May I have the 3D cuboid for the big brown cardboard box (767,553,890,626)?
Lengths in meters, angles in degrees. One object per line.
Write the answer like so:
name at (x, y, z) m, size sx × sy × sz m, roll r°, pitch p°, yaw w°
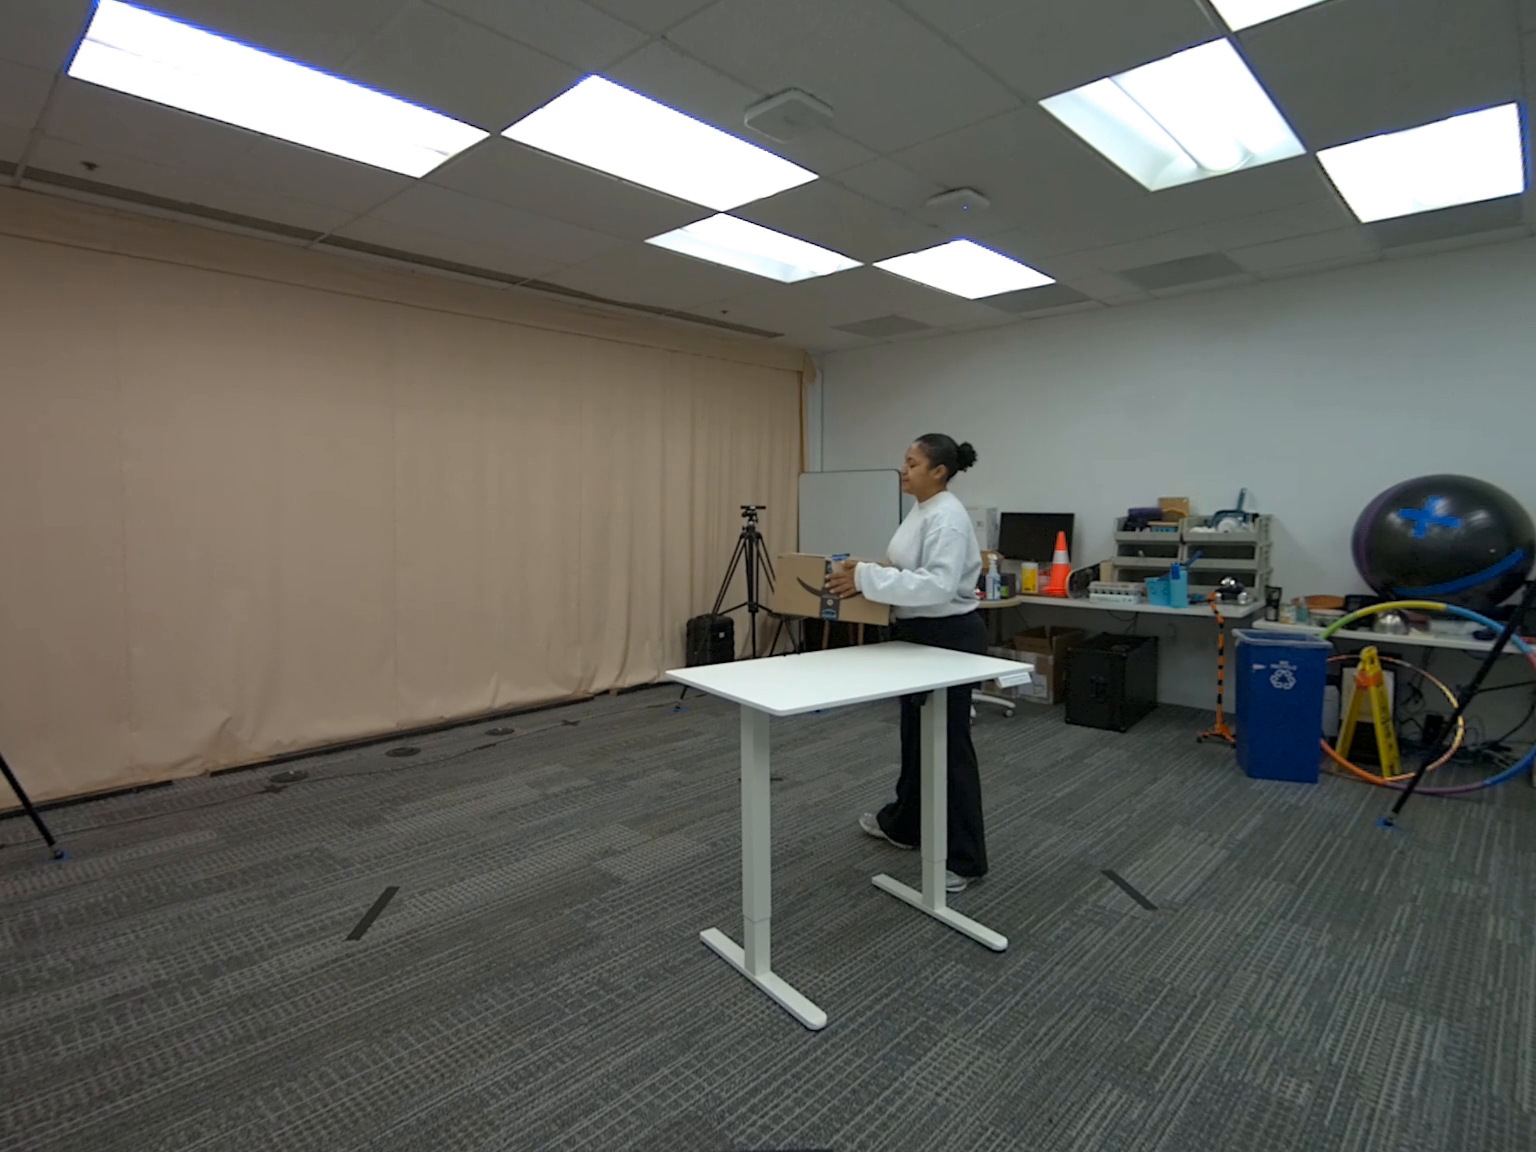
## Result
big brown cardboard box at (0.273, 0.041, 3.276) m, size 0.422 × 0.233 × 0.583 m, roll 6°, pitch 3°, yaw 8°
